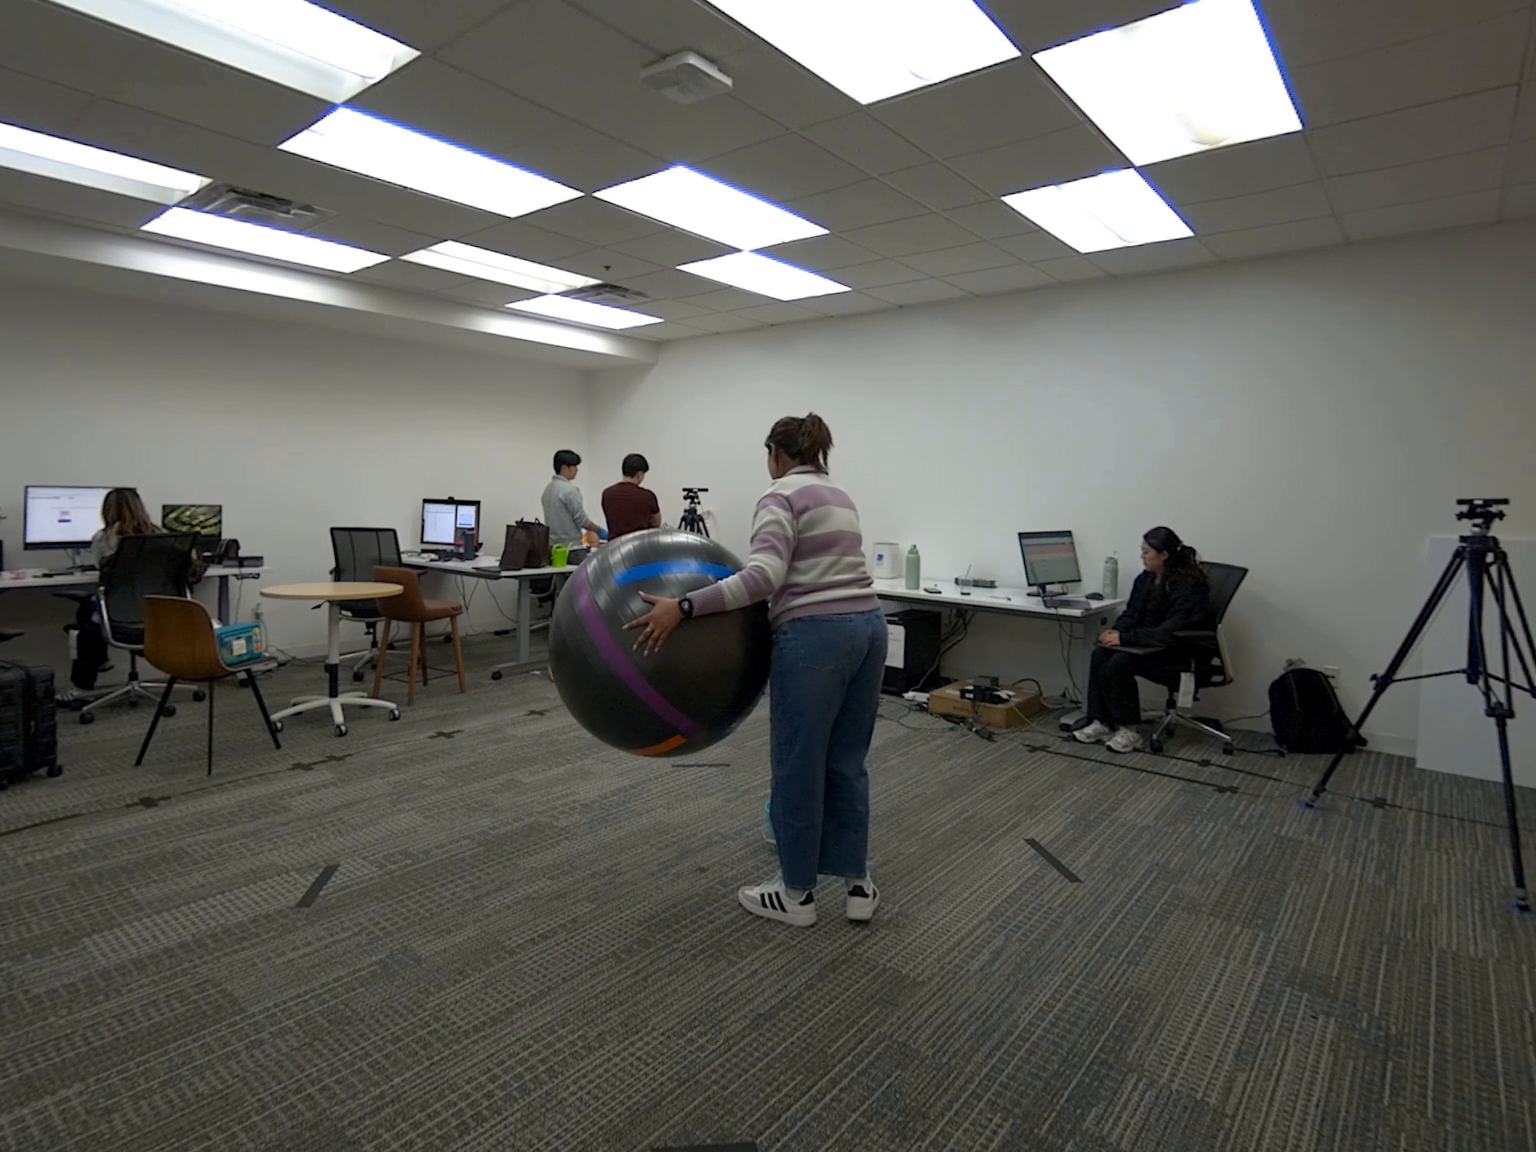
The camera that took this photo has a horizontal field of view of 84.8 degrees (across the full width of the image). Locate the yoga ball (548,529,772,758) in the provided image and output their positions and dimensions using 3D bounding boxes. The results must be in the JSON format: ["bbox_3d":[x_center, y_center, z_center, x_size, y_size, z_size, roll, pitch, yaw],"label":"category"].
[{"bbox_3d":[-0.363,0.225,2.867,0.757,0.756,0.762,1,4,-2],"label":"yoga ball"}]
